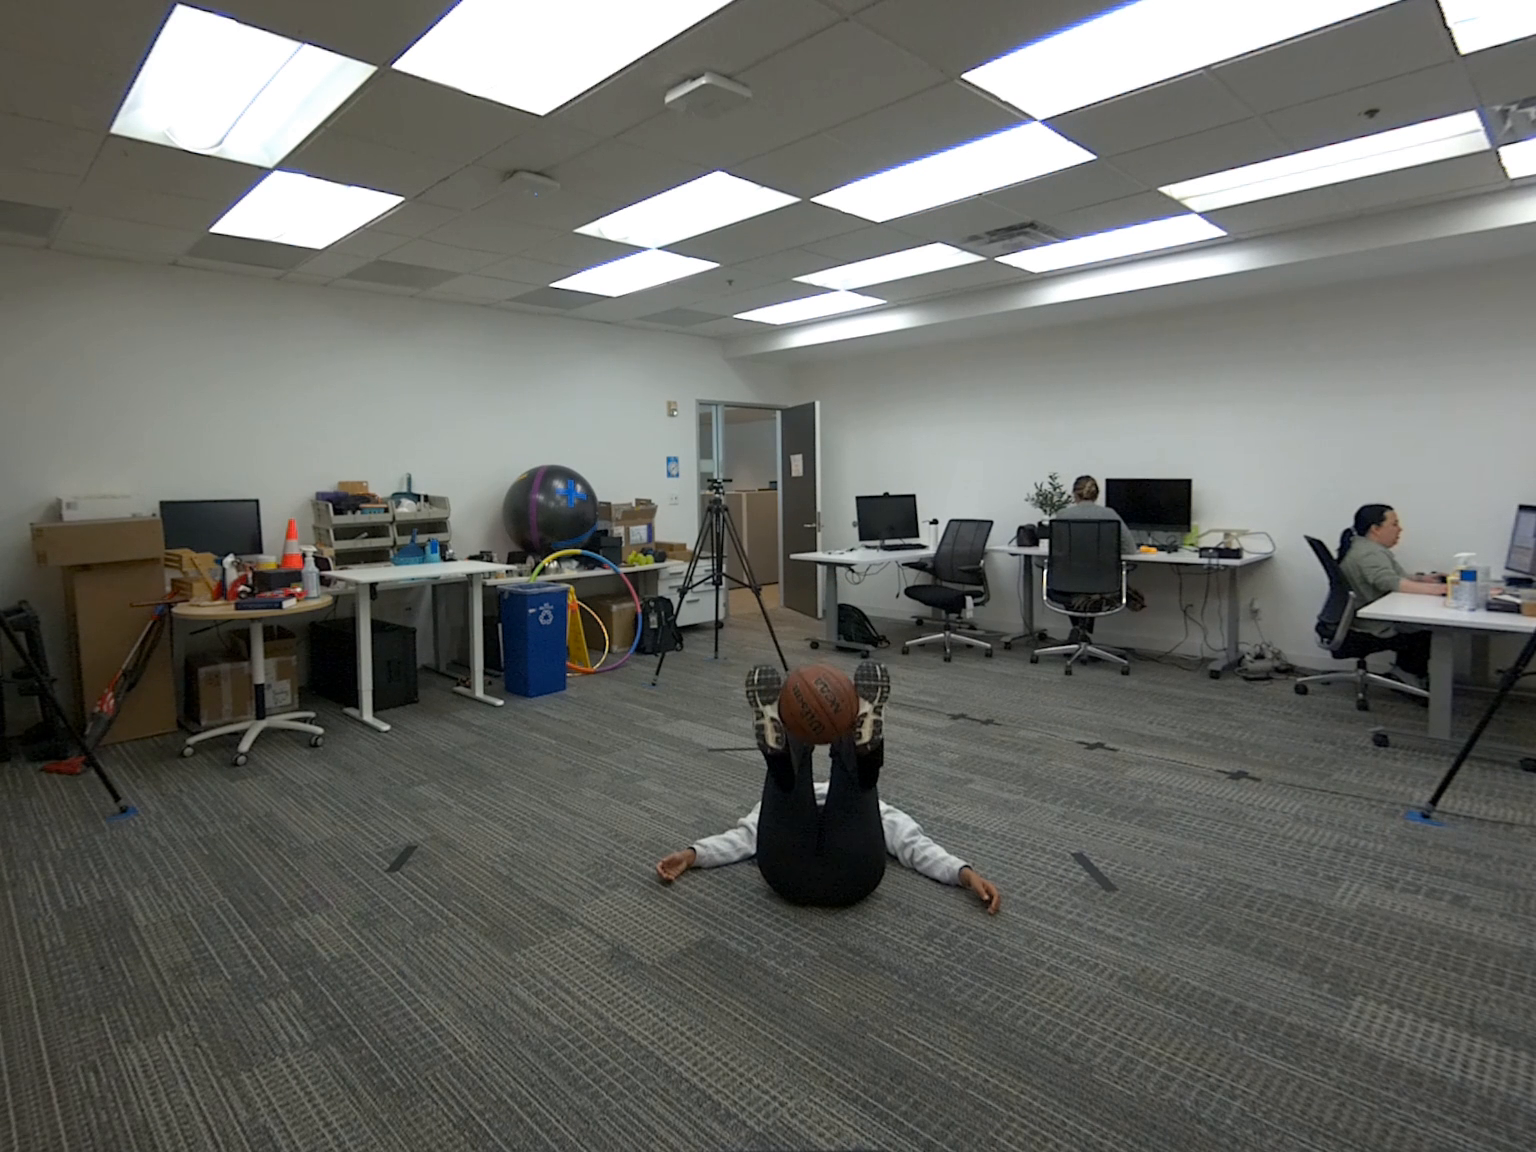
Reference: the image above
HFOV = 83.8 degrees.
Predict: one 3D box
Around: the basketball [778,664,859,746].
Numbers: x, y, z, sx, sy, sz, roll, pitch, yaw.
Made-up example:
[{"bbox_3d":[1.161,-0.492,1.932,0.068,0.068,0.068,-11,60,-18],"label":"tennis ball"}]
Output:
[{"bbox_3d":[0.149,0.377,2.538,0.236,0.235,0.236,-4,2,-2],"label":"basketball"}]
